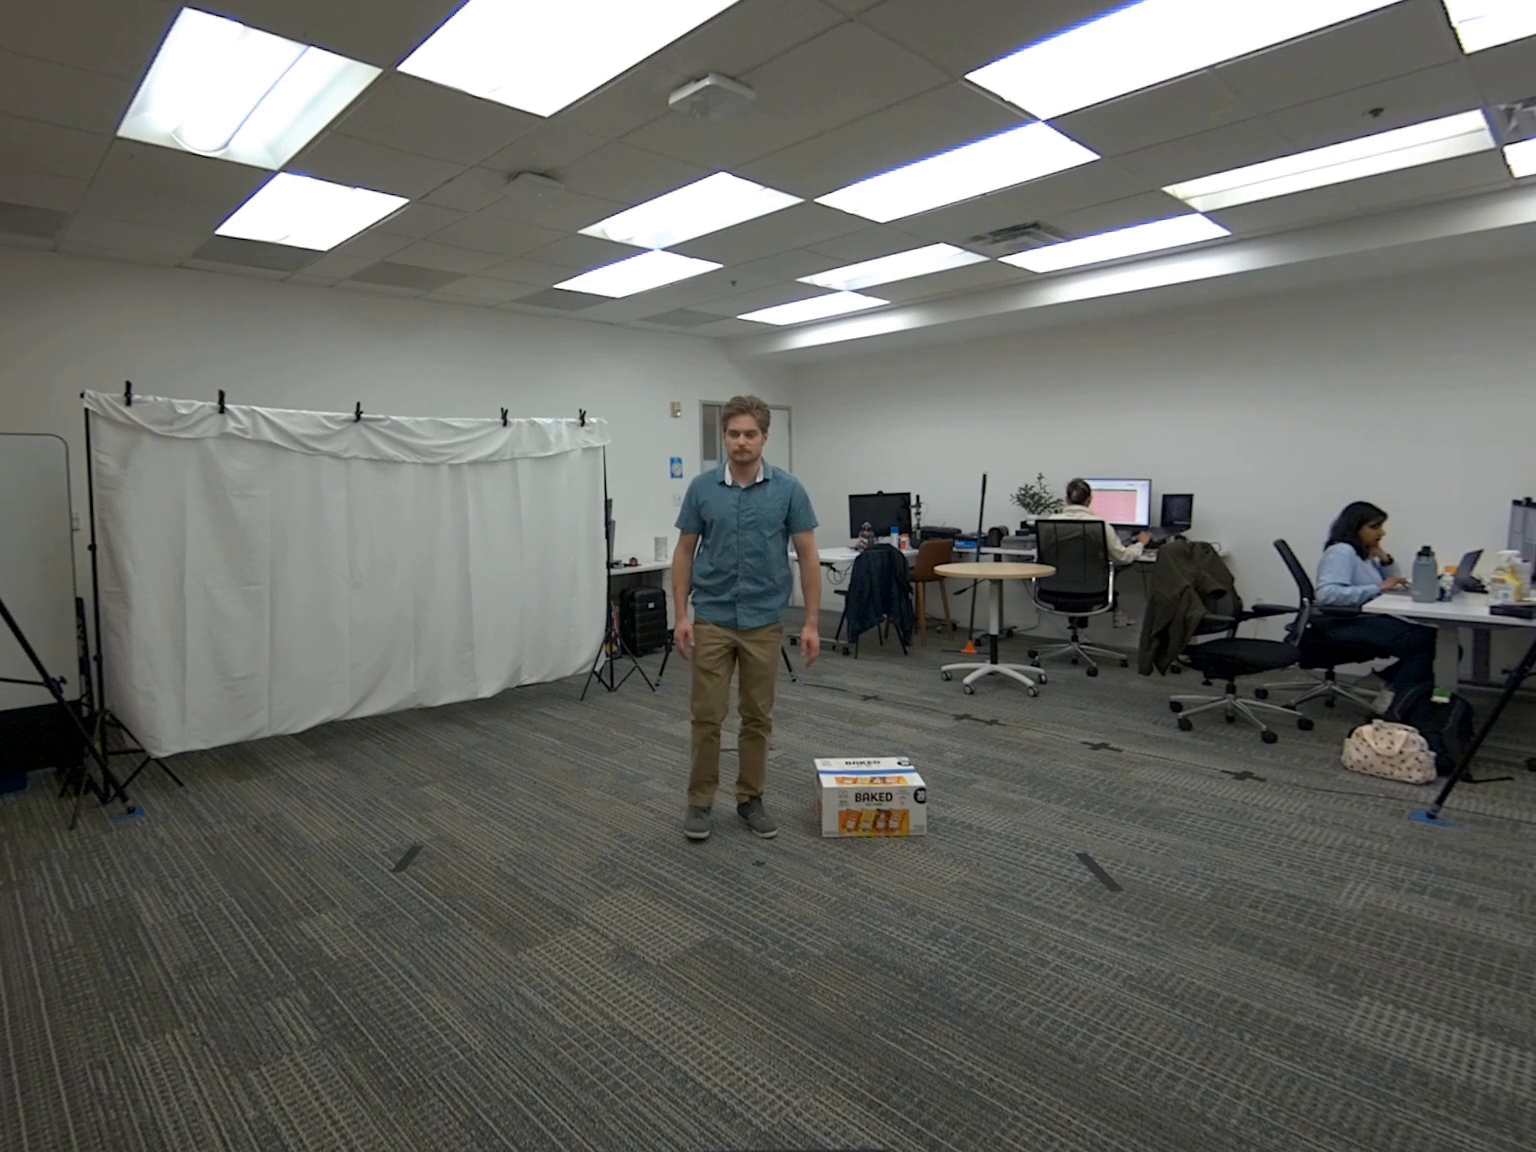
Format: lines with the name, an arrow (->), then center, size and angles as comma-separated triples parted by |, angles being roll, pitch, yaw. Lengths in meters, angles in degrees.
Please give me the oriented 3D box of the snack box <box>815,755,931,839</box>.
snack box -> 0.414, 0.890, 3.483 | 0.405, 0.205, 0.342 | -1, 6, -2
